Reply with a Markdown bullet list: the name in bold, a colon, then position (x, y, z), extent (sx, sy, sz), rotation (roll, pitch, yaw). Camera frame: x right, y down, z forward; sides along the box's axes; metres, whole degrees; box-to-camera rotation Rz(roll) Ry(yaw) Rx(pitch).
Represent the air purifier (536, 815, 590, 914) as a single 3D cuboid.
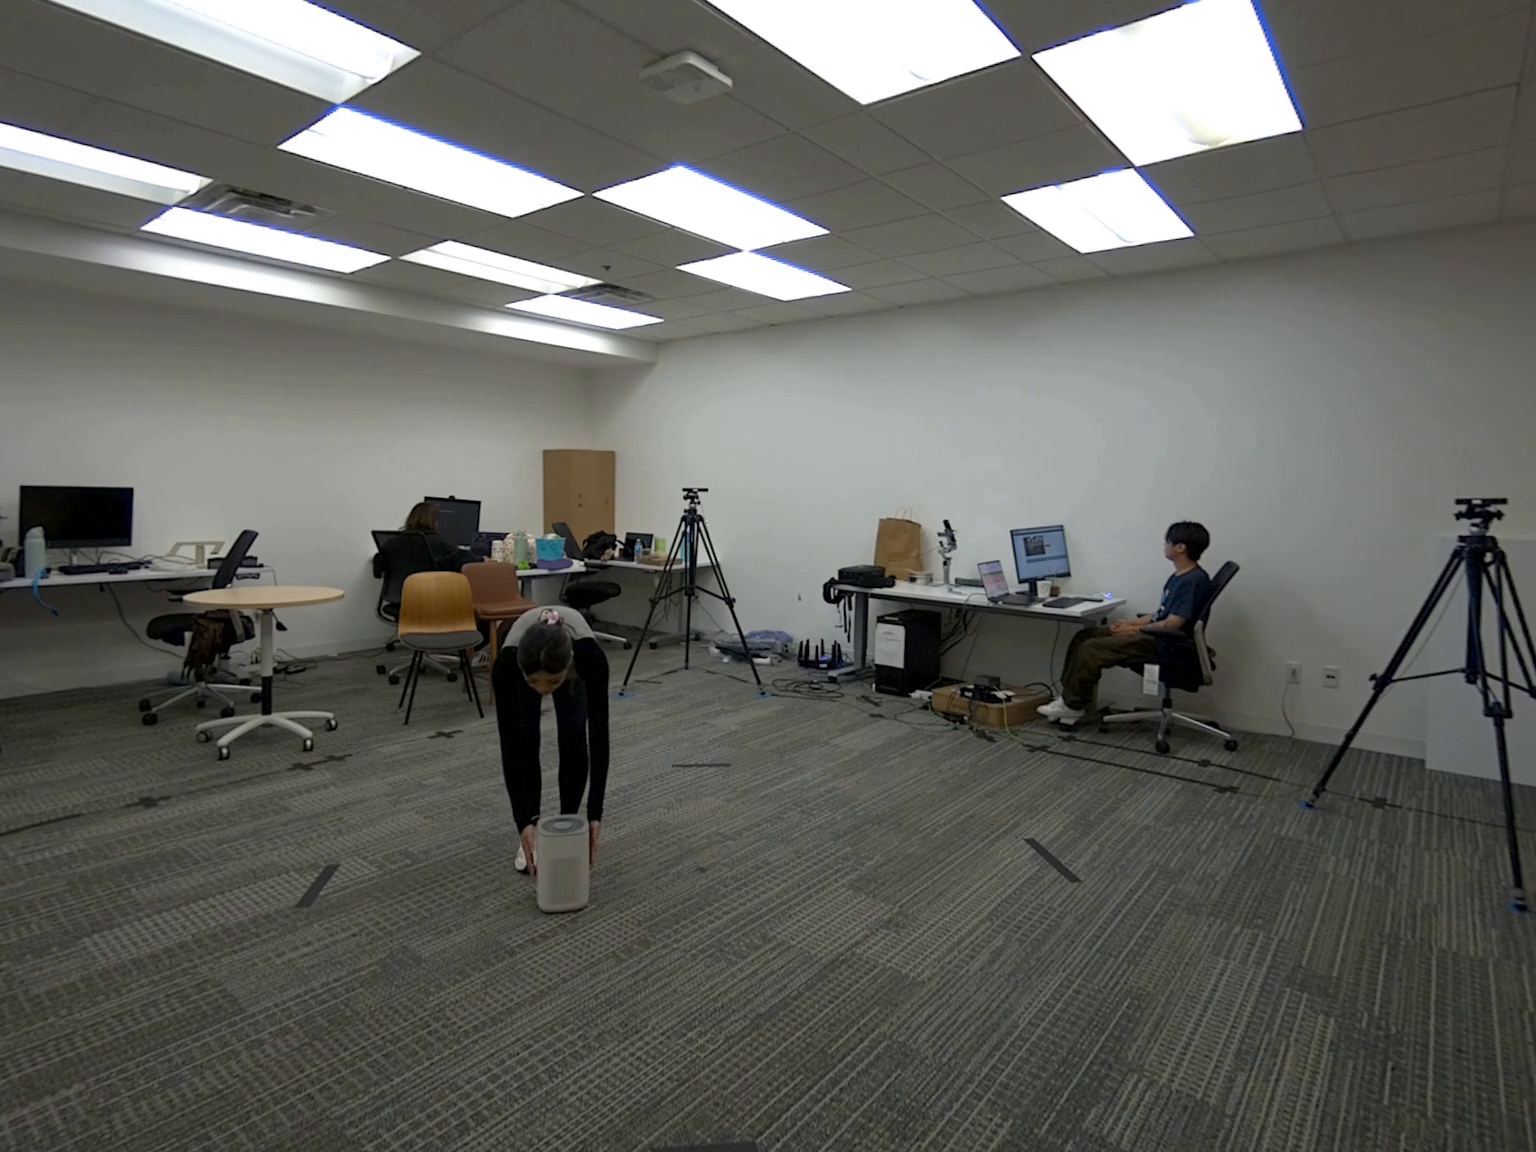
- **air purifier**: position (-0.696, 0.950, 2.841), extent (0.169, 0.264, 0.175), rotation (-1, 4, -17)
